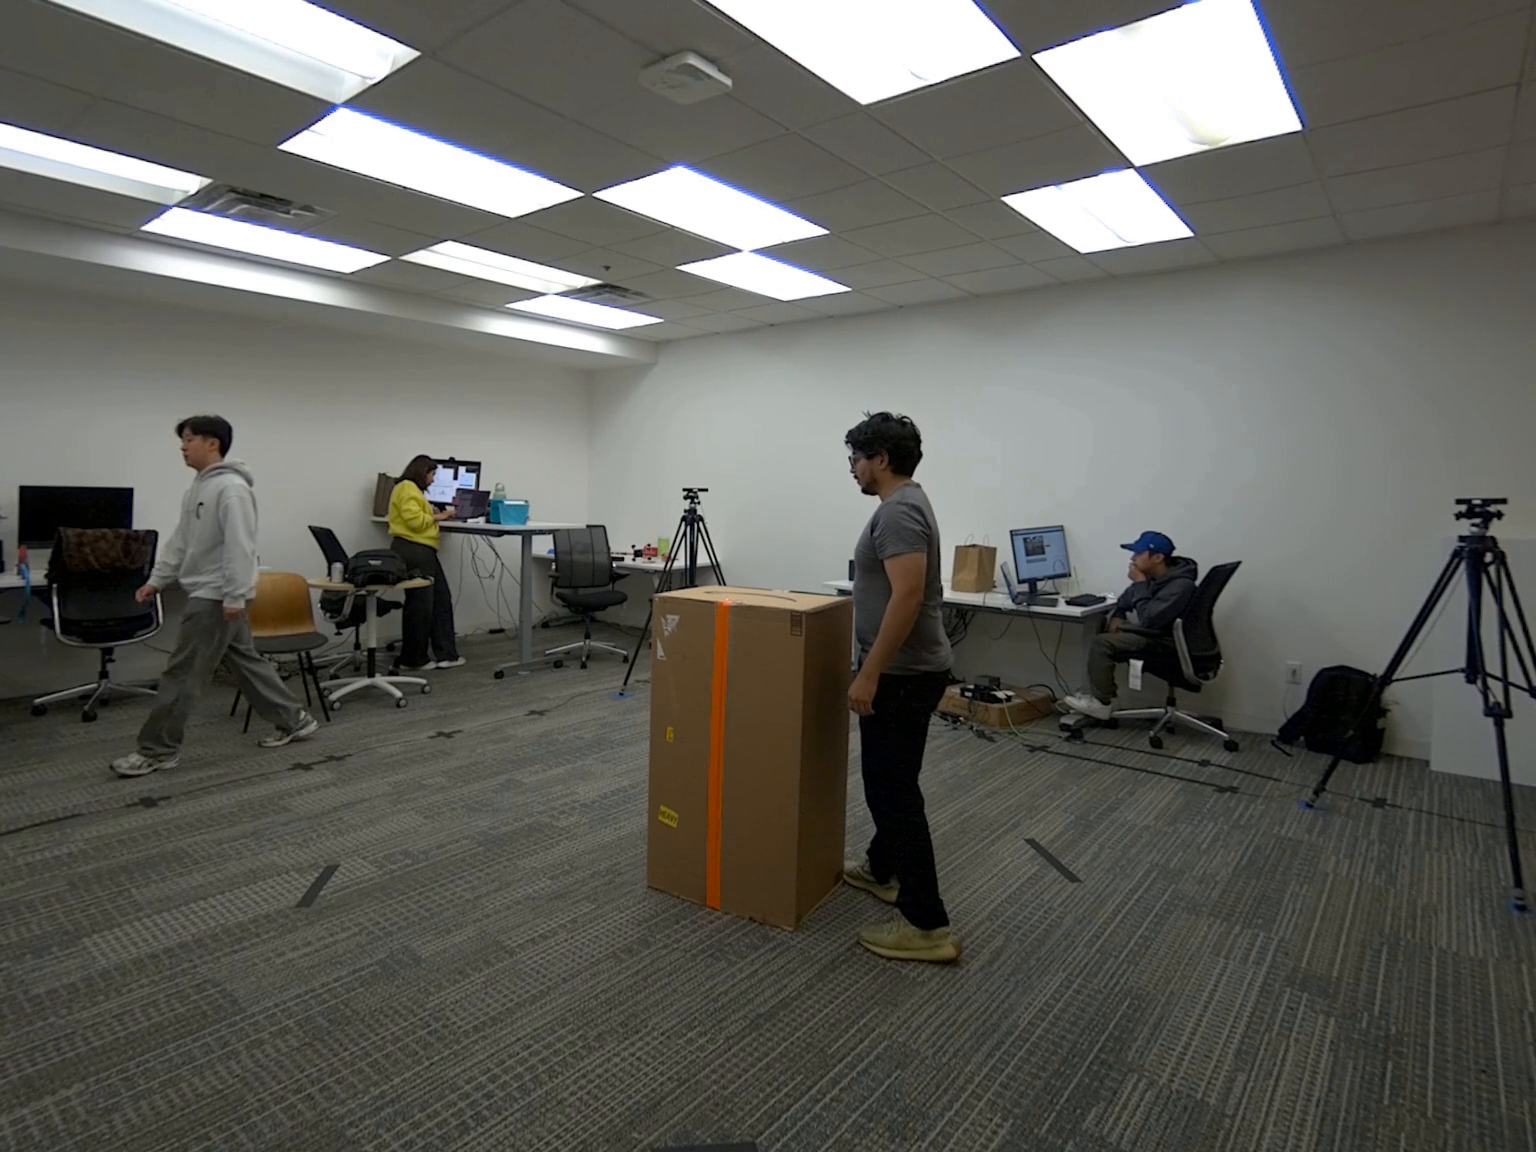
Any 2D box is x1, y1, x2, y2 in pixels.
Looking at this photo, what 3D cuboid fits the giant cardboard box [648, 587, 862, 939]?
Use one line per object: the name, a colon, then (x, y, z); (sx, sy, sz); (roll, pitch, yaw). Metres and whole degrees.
giant cardboard box: (-0.073, 0.581, 2.974); (0.601, 1.025, 0.435); (3, 3, 28)
